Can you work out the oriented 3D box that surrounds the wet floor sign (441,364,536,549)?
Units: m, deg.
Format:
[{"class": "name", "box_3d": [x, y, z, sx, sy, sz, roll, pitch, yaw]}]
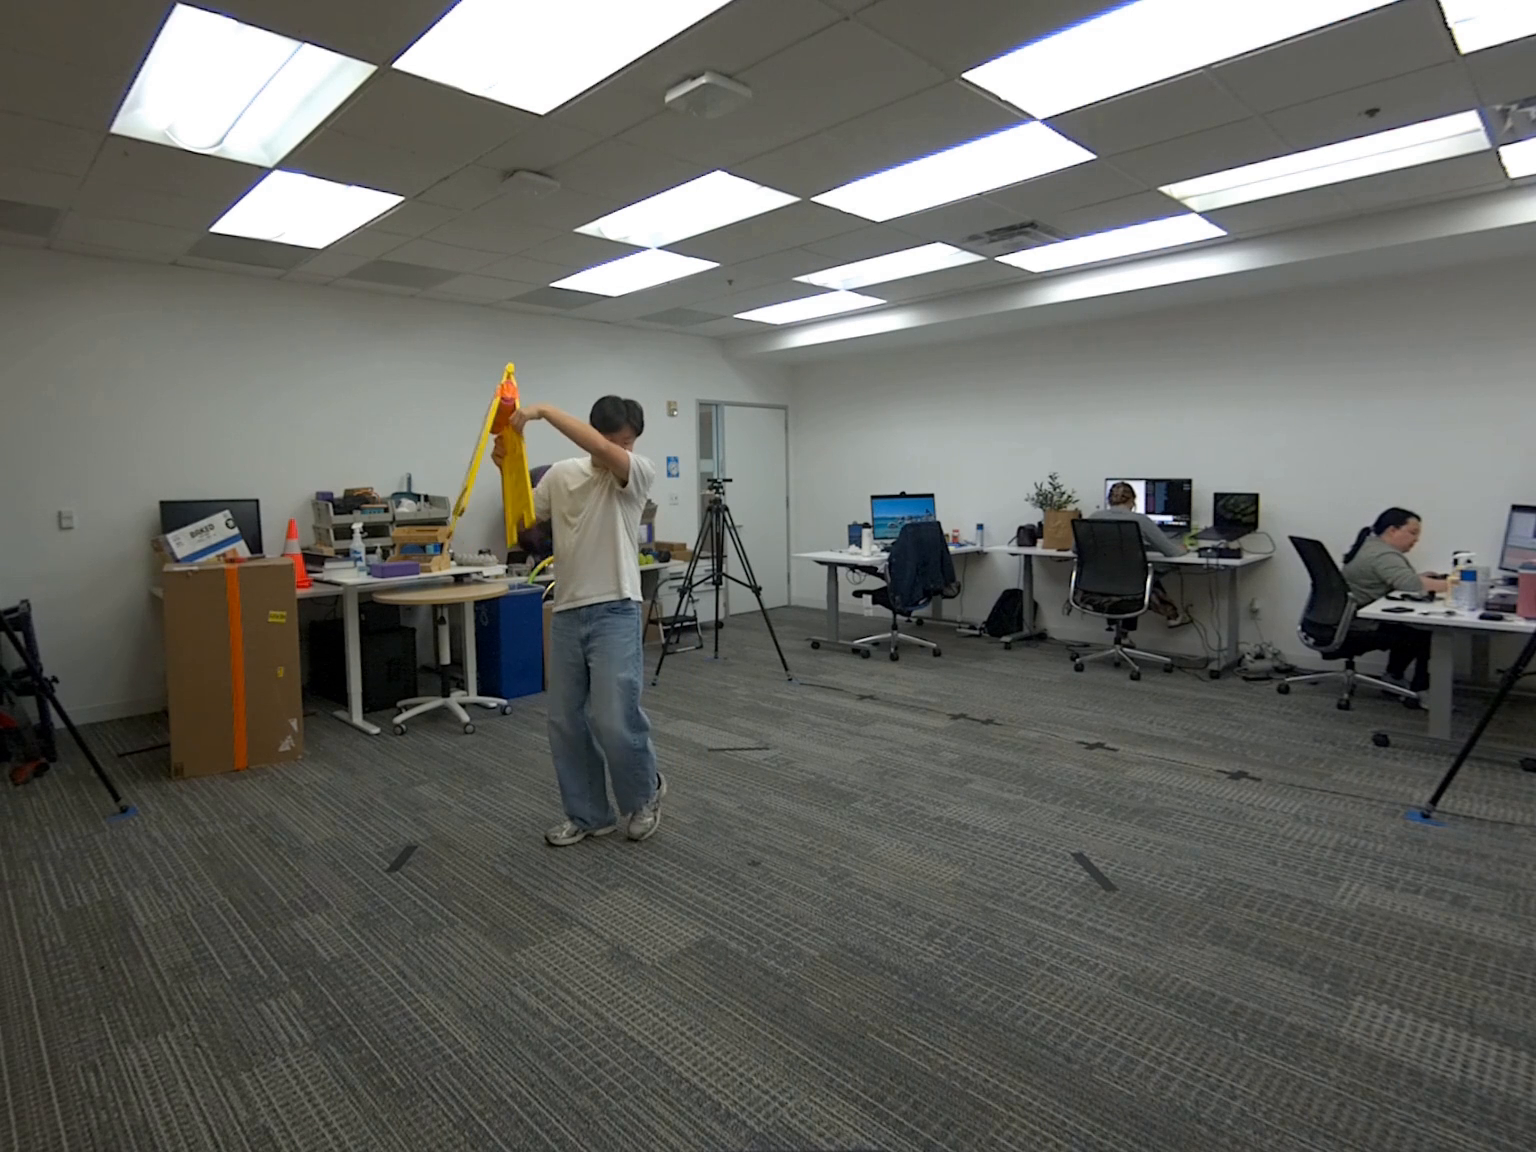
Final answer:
[{"class": "wet floor sign", "box_3d": [-0.986, -0.446, 3.119, 0.283, 0.659, 0.283, 9, -25, -24]}]
